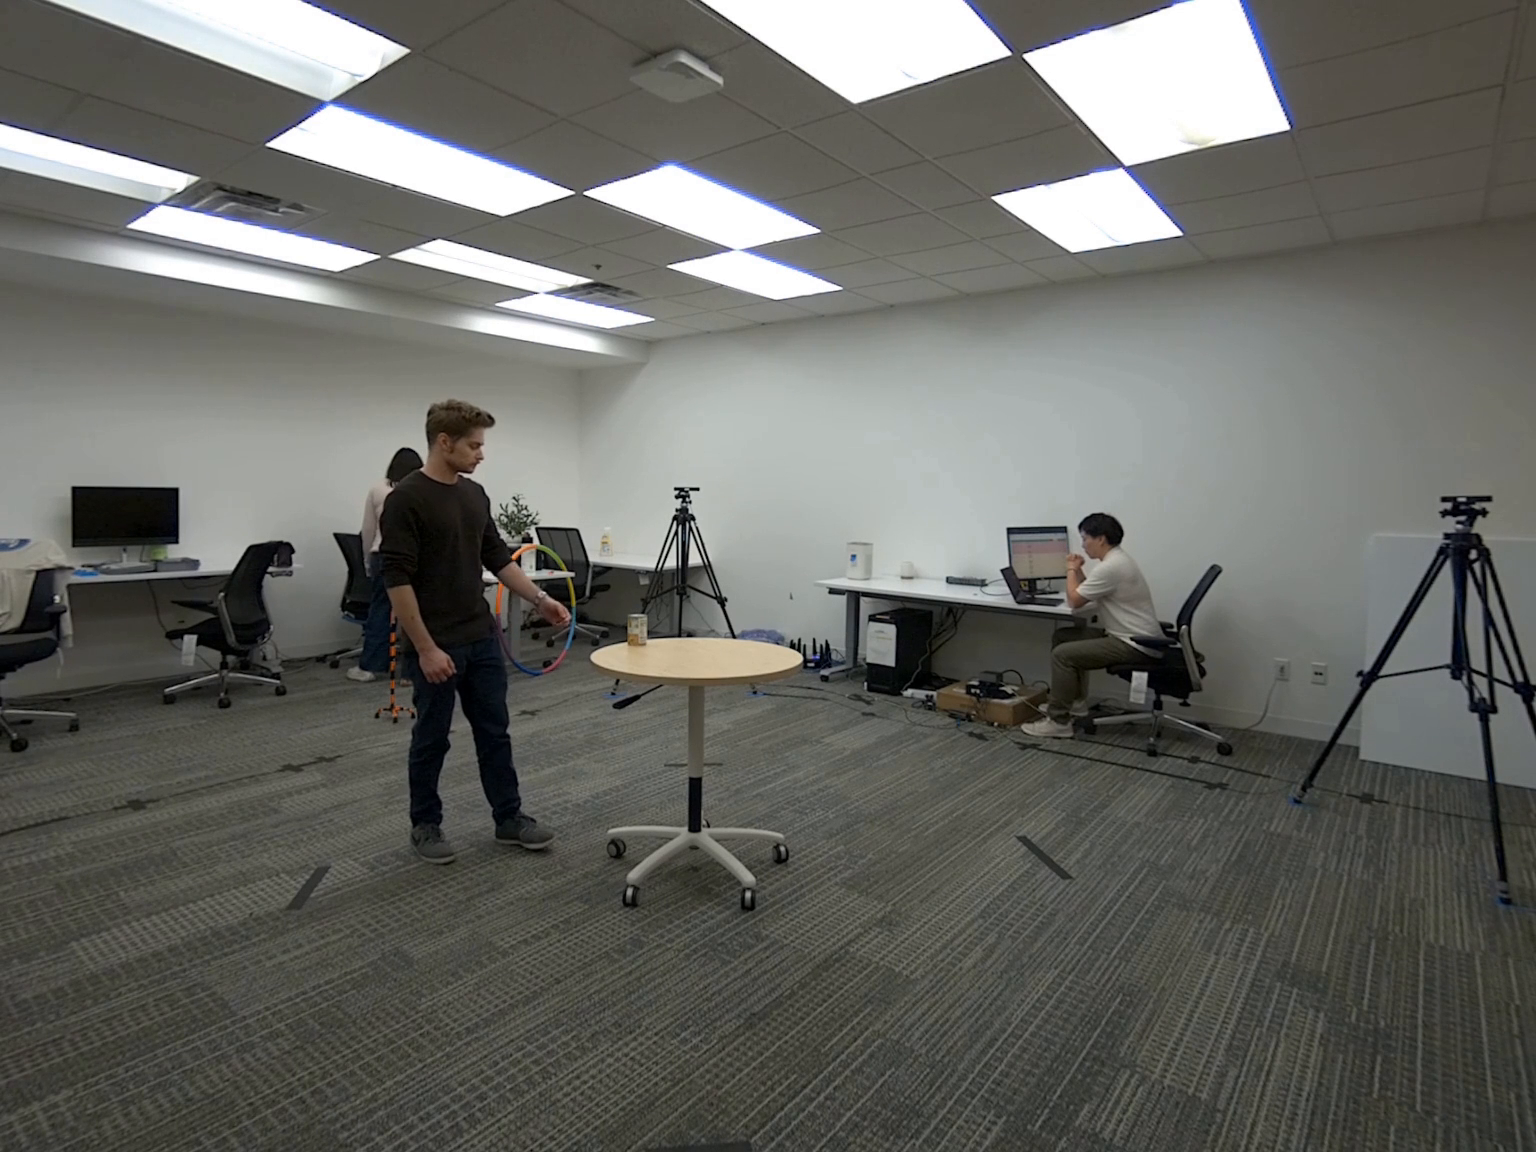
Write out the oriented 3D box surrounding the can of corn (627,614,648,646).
[{"bbox_3d":[-0.522,0.209,3.296,0.074,0.110,0.074,-1,4,-2],"label":"can of corn"}]
